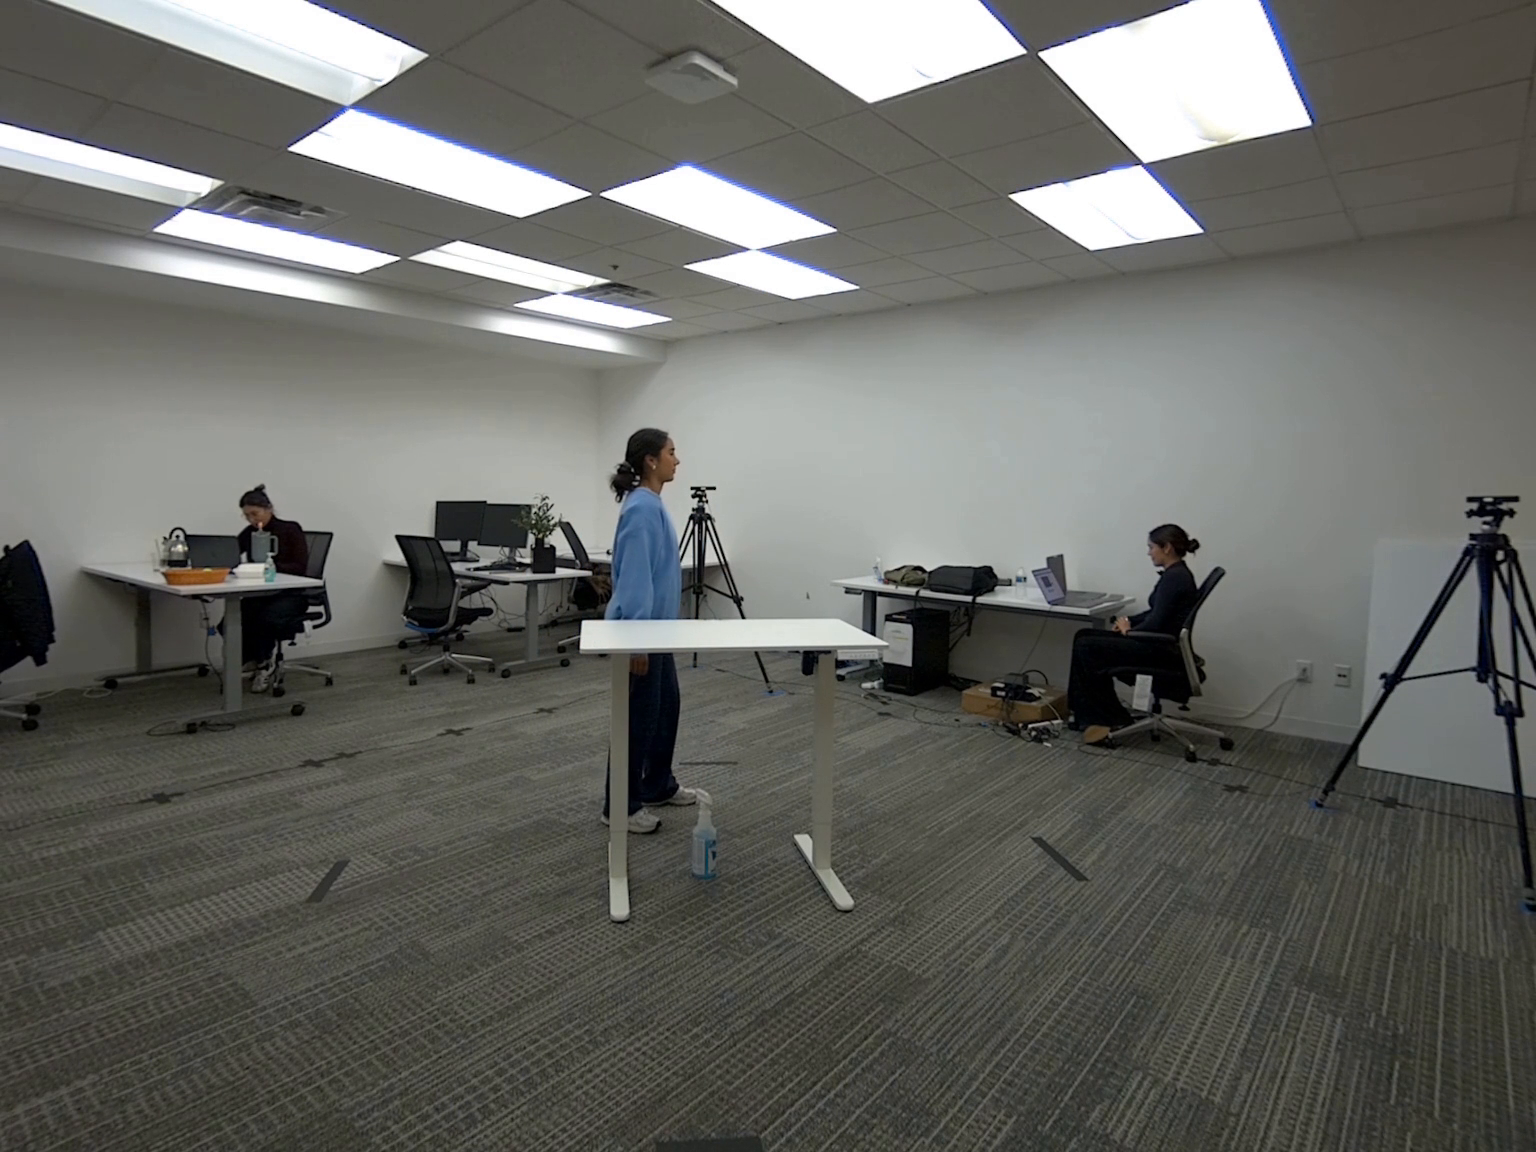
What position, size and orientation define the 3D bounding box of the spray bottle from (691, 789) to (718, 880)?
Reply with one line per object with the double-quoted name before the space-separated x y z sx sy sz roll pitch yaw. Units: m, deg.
"spray bottle" -0.238 0.924 3.063 0.086 0.296 0.091 -2 3 -13
